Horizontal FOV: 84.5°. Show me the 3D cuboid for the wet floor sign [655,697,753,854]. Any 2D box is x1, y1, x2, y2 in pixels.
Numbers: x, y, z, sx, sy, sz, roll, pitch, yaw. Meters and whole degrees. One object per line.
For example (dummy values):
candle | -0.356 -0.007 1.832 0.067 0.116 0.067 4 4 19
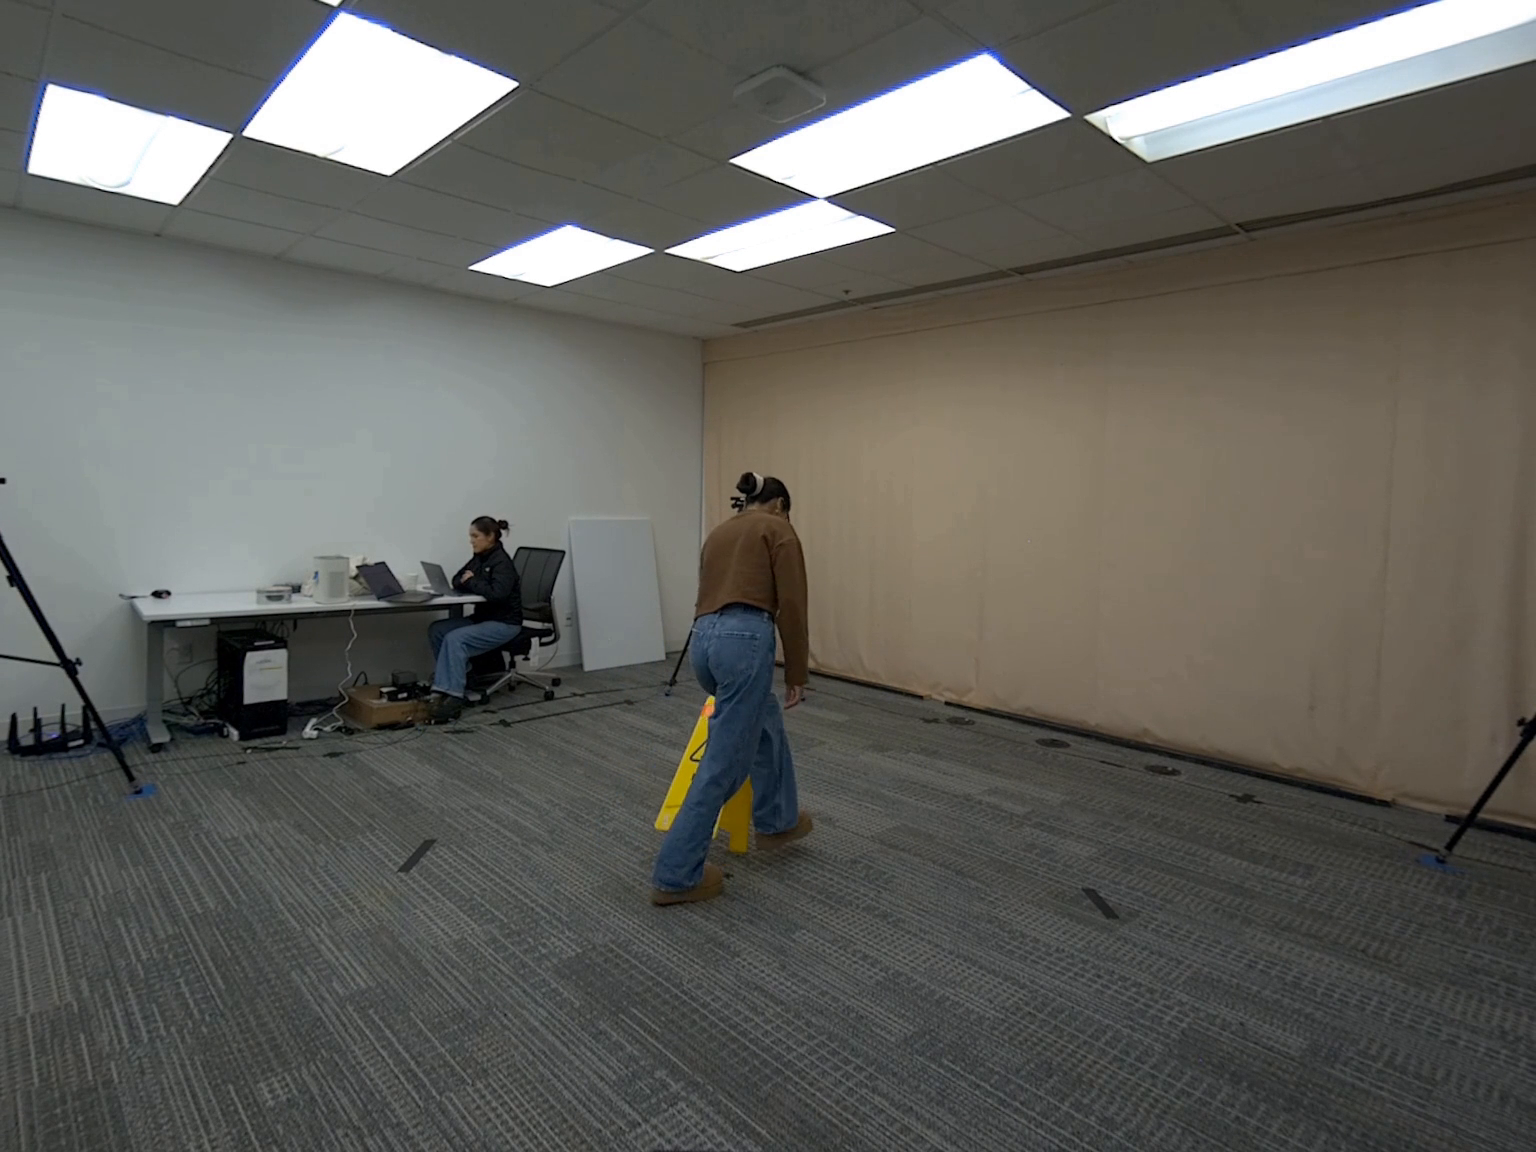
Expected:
wet floor sign | -0.203 0.742 3.389 0.288 0.653 0.280 1 -27 30
